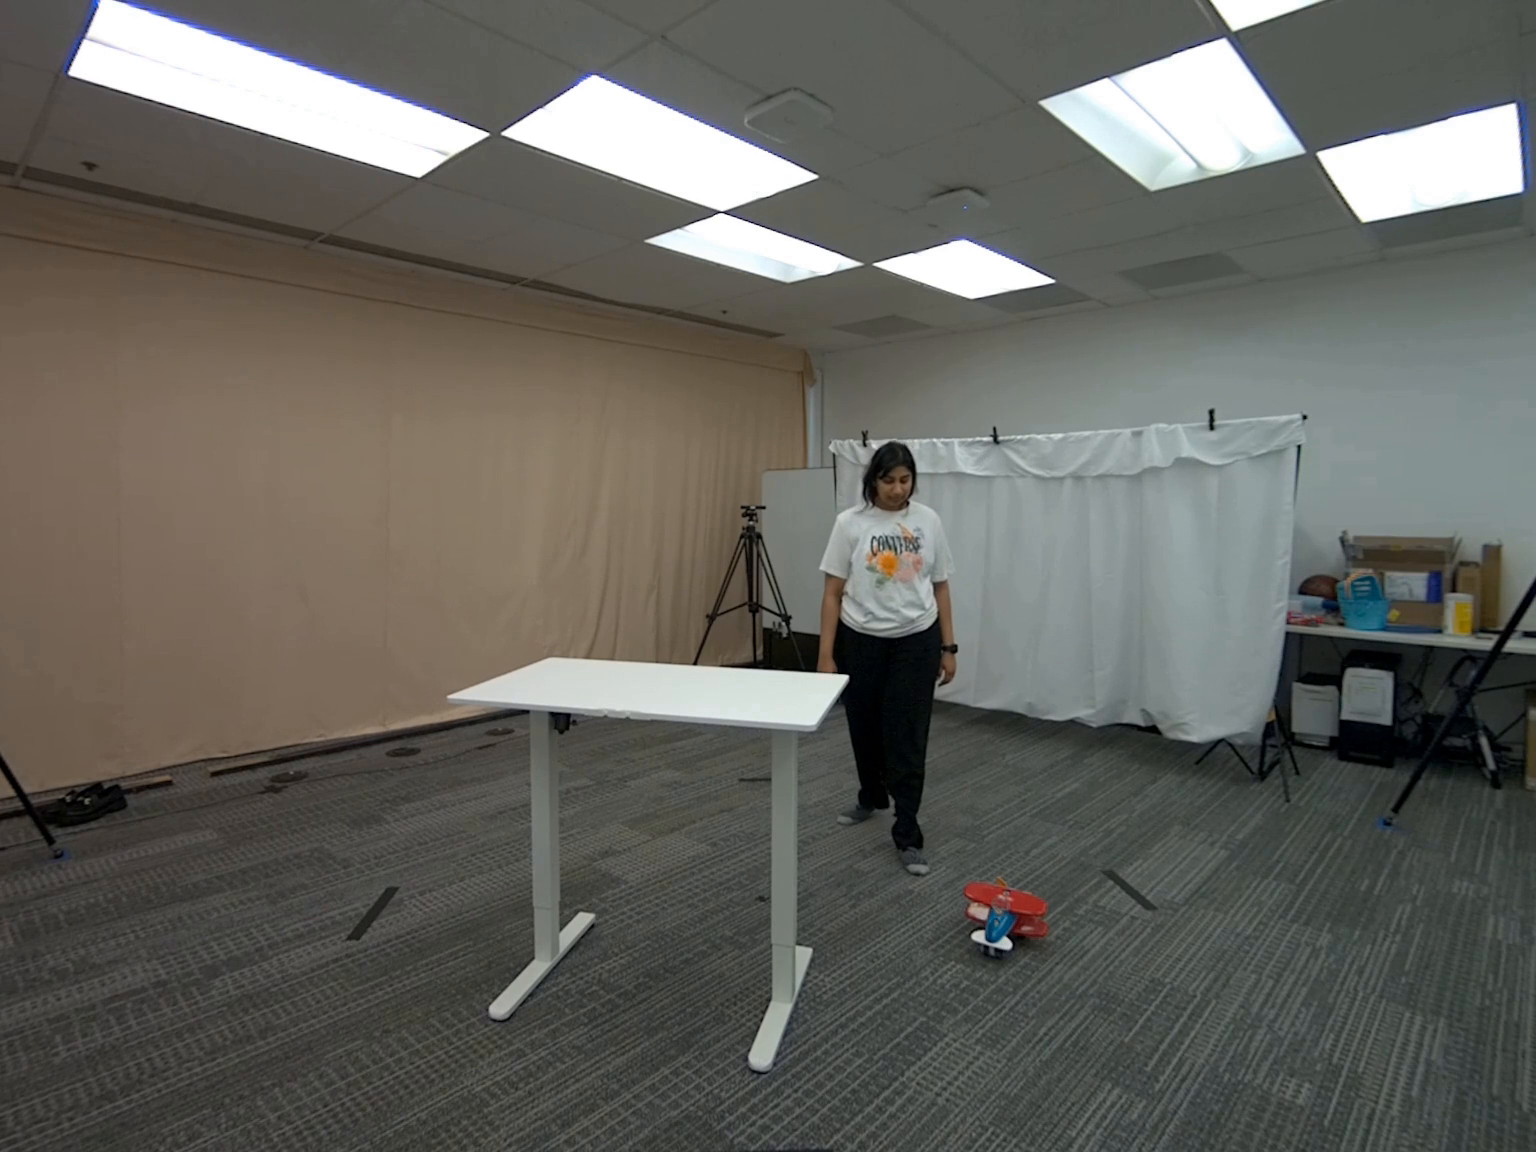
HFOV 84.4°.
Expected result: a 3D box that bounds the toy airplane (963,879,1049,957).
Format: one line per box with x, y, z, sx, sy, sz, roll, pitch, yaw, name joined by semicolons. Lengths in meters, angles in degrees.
0.756;1.084;2.664;0.253;0.156;0.258;1;5;5;toy airplane
